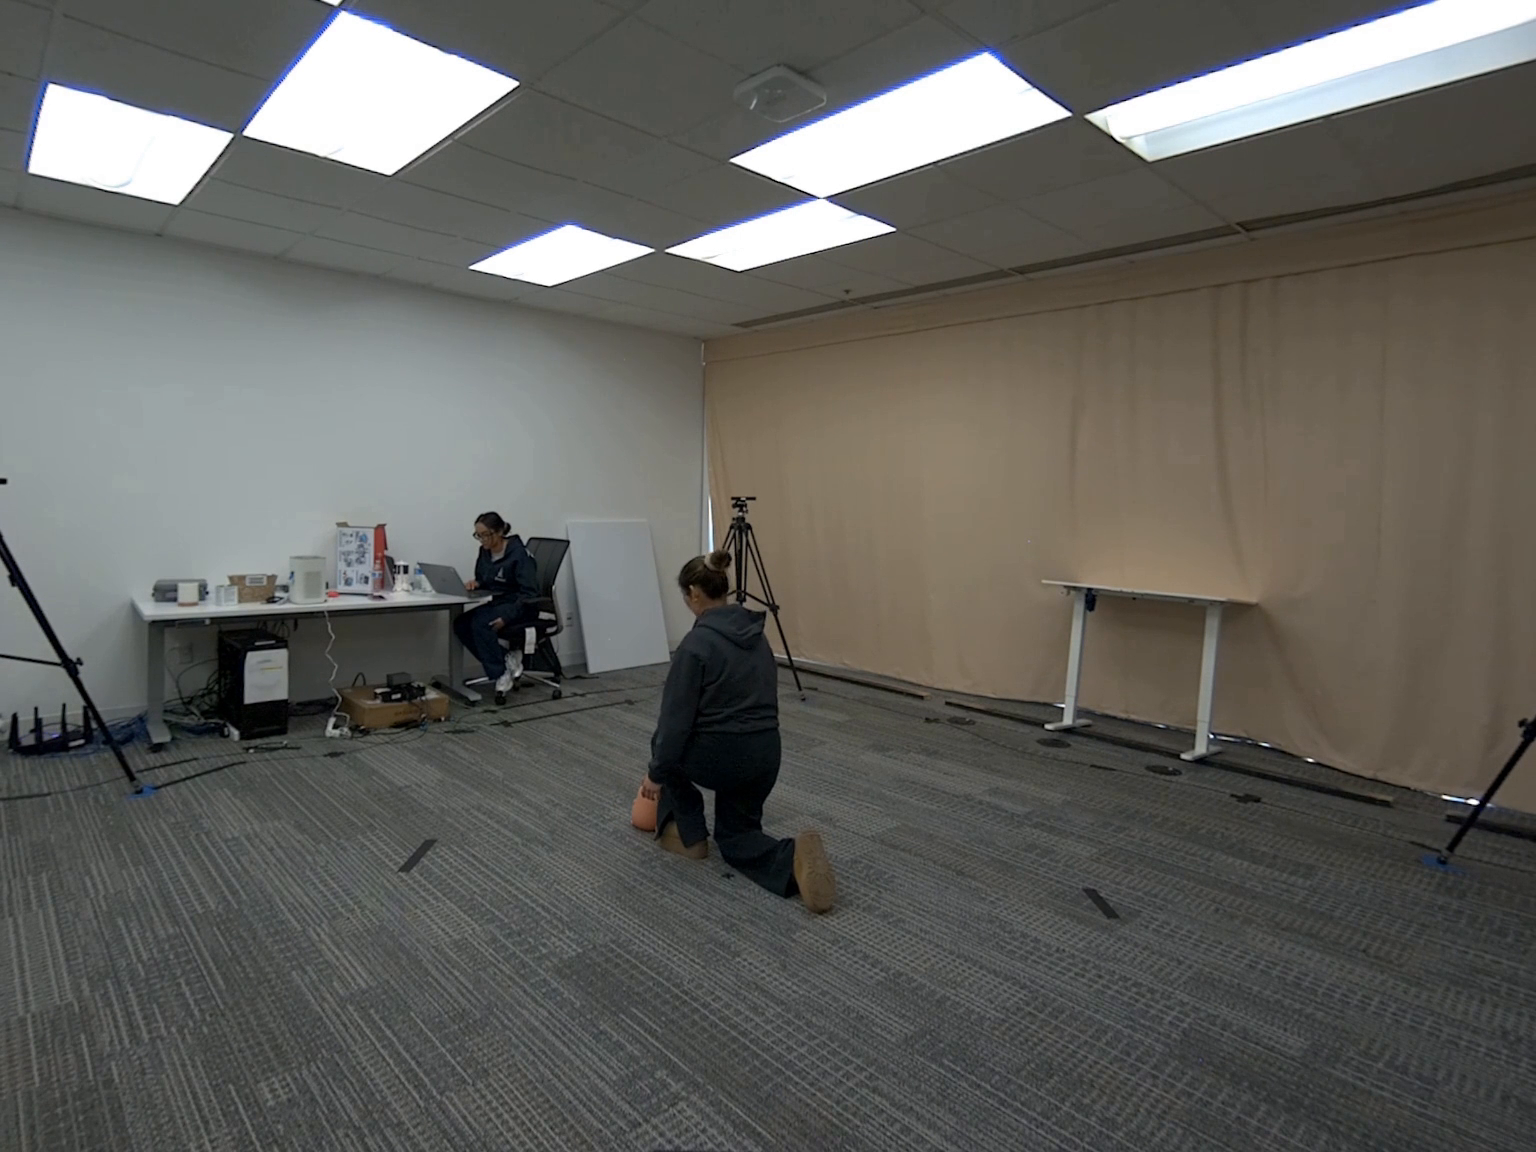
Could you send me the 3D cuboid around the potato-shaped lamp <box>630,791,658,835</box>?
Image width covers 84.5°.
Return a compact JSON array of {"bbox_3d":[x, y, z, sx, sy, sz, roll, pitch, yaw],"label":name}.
[{"bbox_3d":[-0.495,0.955,3.553,0.176,0.197,0.161,10,8,37],"label":"potato-shaped lamp"}]
